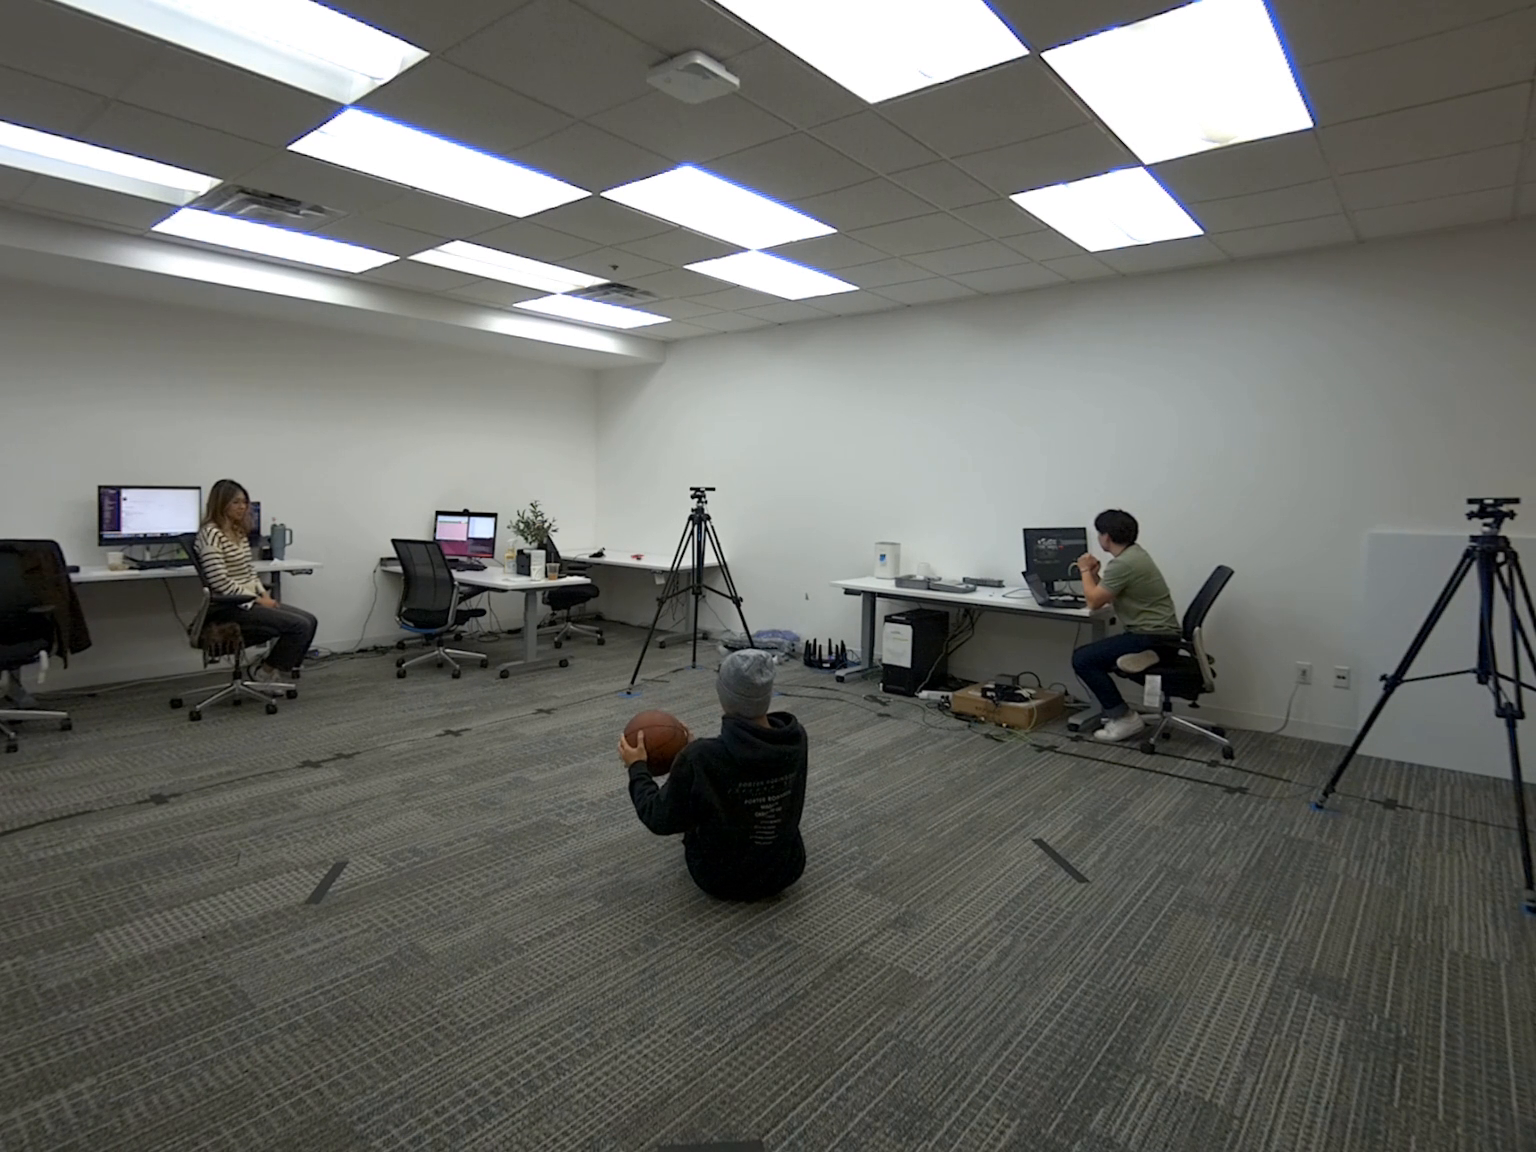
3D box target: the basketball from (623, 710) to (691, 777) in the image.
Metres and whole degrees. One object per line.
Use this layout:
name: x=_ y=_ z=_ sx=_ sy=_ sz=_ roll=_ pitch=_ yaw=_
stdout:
basketball: x=-0.419 y=0.604 z=3.111 sx=0.235 sy=0.235 sz=0.237 roll=1 pitch=4 yaw=-2
